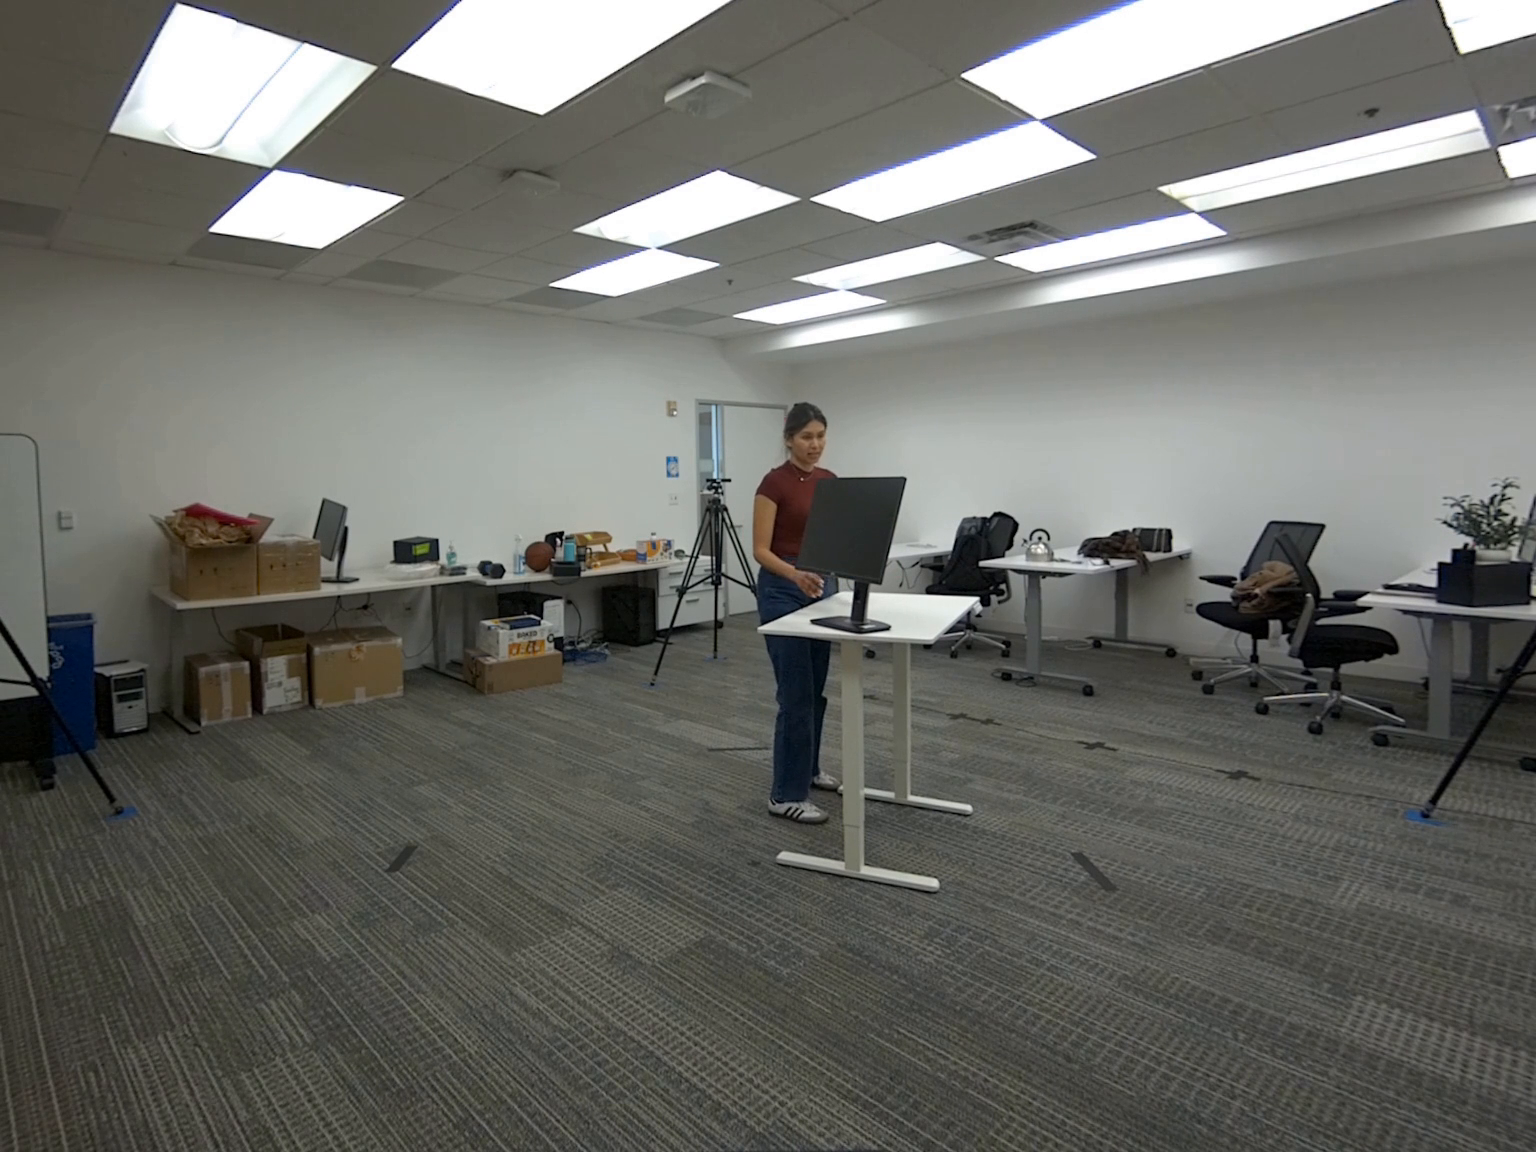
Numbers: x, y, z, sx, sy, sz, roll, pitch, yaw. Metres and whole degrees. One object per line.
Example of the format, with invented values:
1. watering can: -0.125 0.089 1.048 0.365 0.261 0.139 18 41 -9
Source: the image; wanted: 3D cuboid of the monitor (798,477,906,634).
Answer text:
1. monitor: 0.291 -0.077 2.949 0.183 0.521 0.553 1 4 -28
